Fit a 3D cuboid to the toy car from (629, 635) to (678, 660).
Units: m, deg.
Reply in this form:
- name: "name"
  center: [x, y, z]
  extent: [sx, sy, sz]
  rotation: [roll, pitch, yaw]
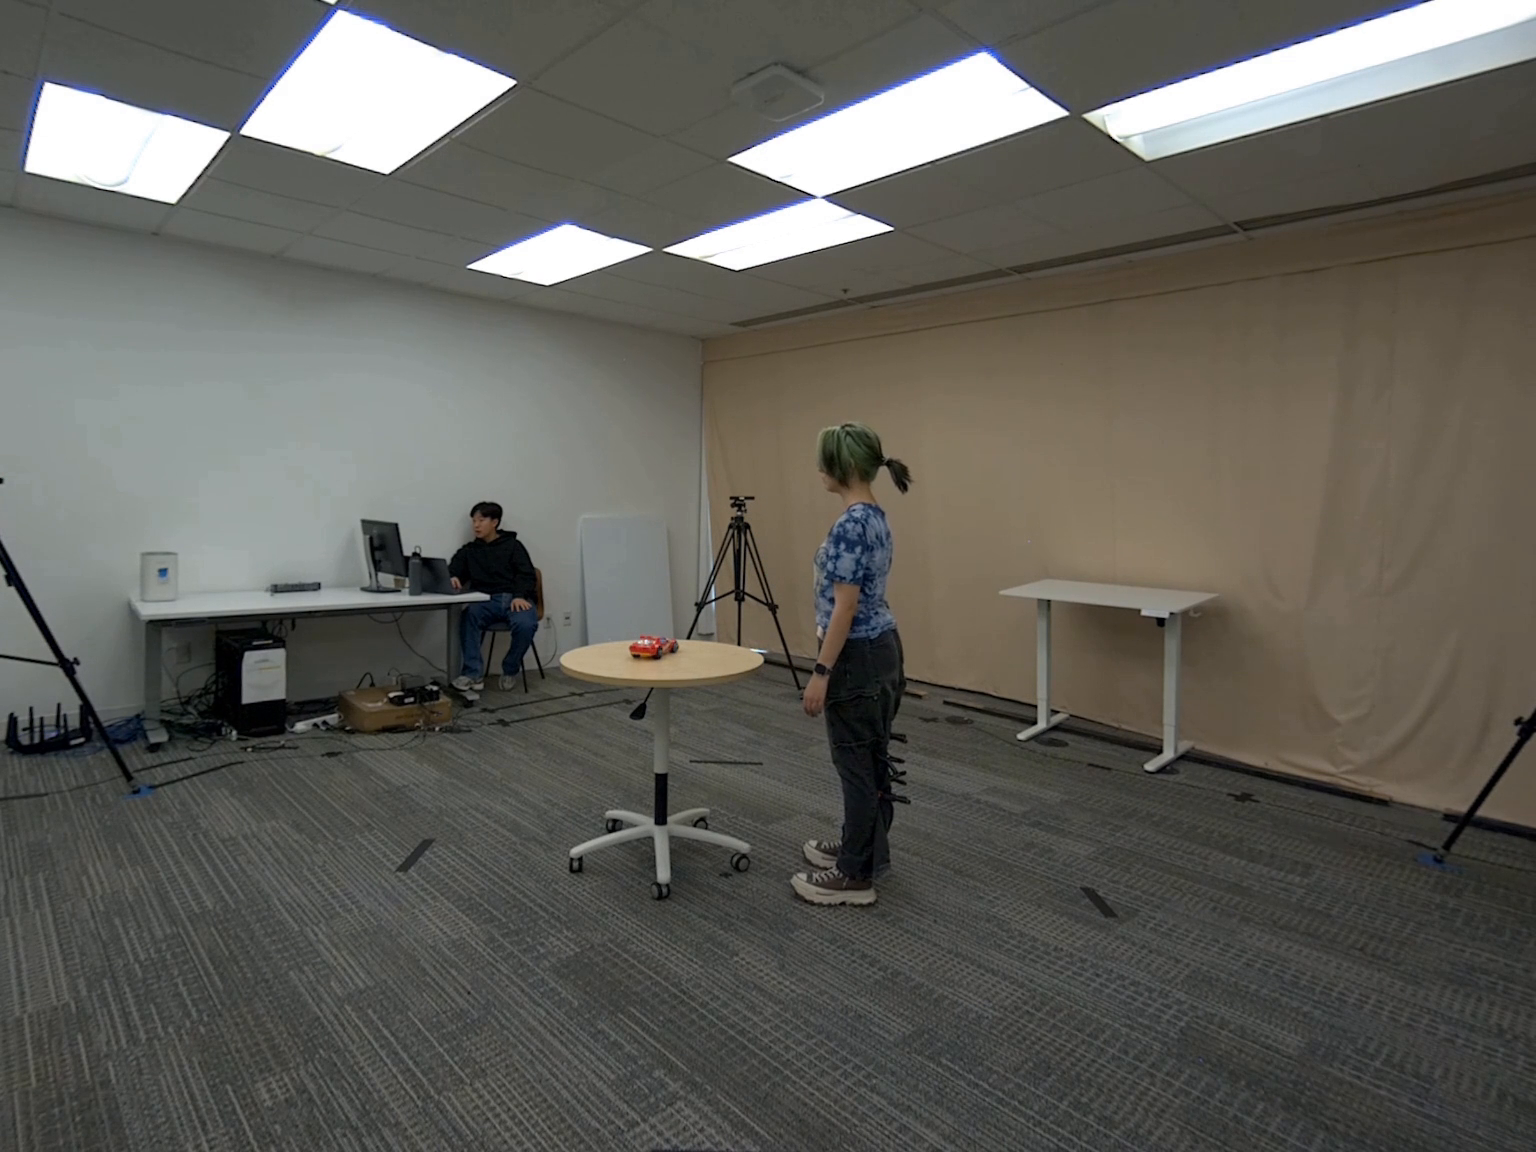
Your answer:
- name: "toy car"
  center: [-0.442, 0.273, 3.205]
  extent: [0.132, 0.083, 0.249]
  rotation: [3, -5, 19]
